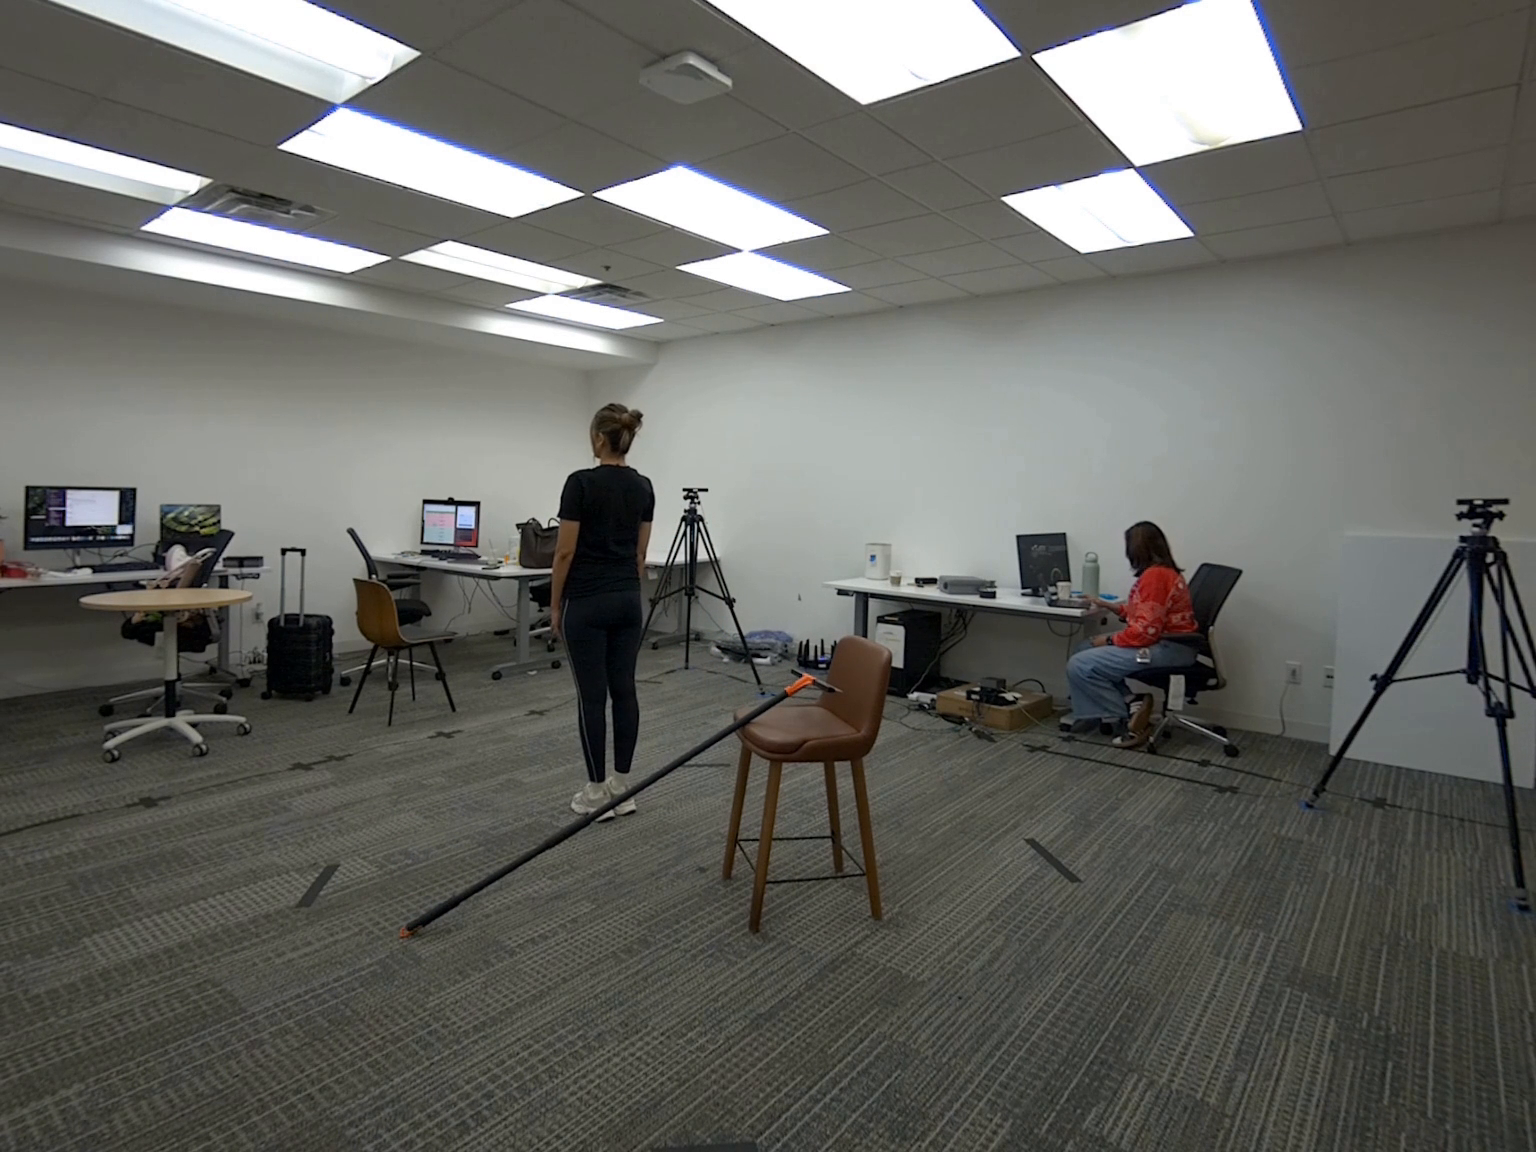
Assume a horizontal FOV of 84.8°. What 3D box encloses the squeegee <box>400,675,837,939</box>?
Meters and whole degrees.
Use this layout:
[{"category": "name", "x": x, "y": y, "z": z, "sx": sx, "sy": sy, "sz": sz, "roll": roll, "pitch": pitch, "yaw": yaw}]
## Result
[{"category": "squeegee", "x": -0.482, "y": 0.711, "z": 2.750, "sx": 1.529, "sy": 0.053, "sz": 0.434, "roll": -30, "pitch": -6, "yaw": -12}]
